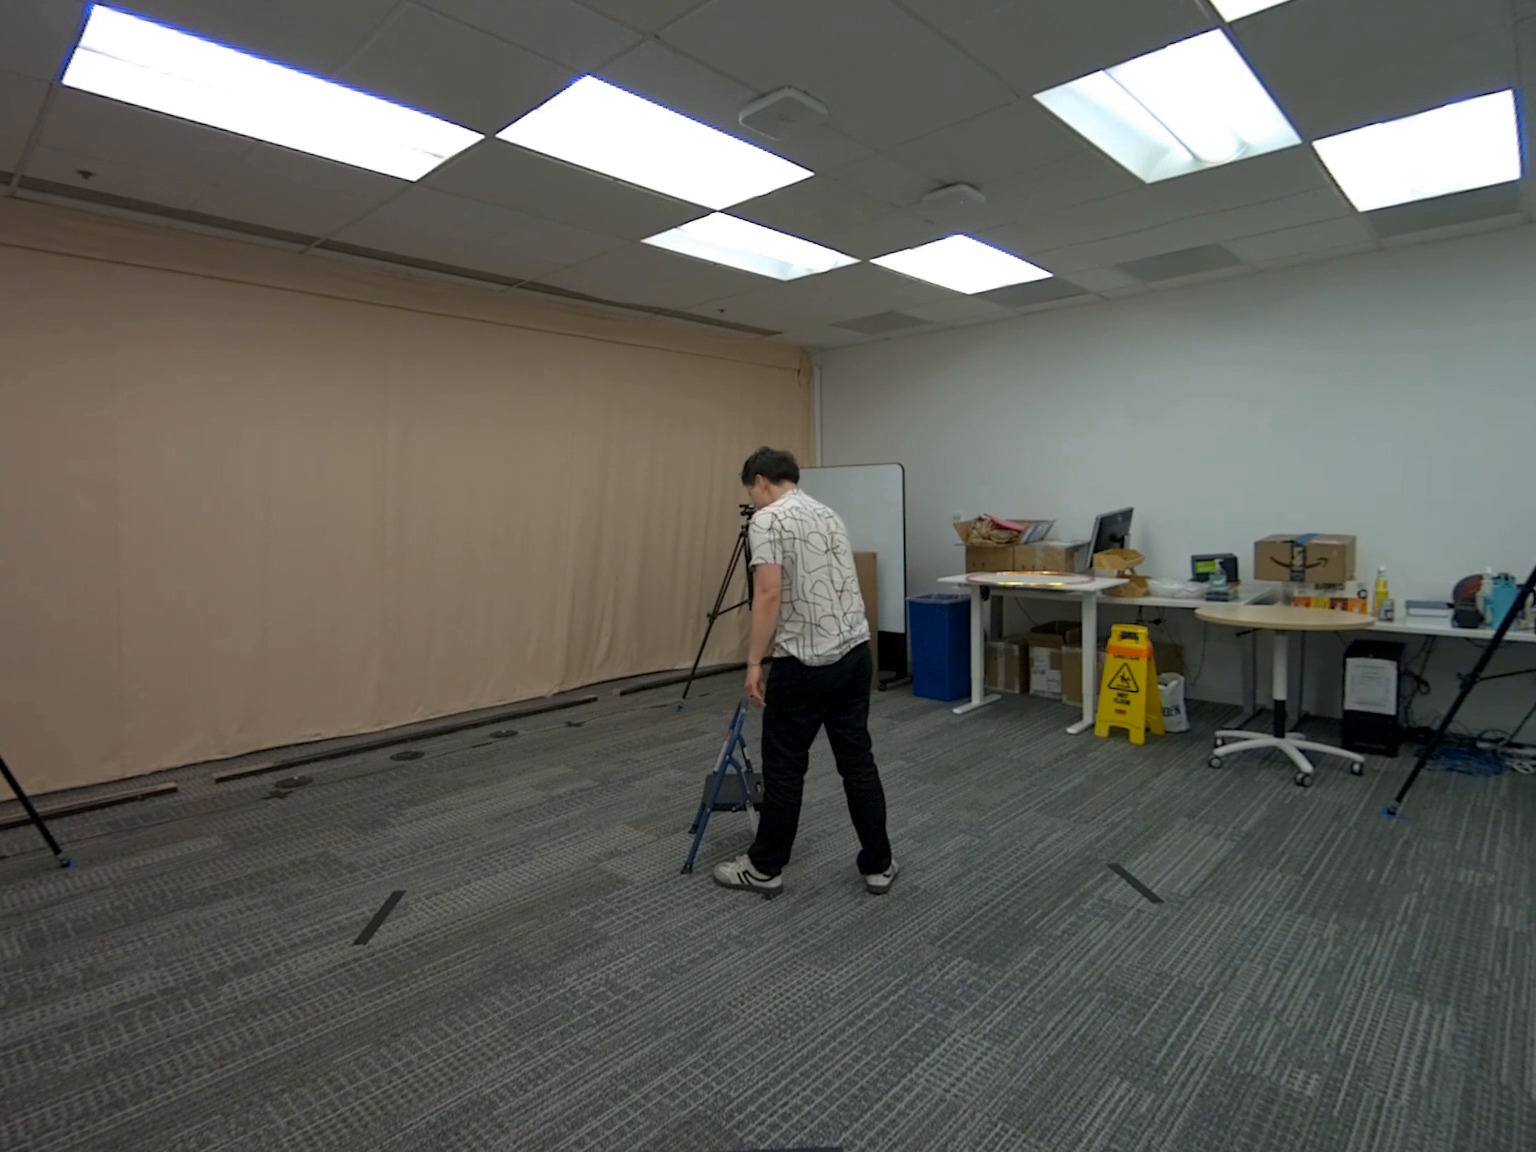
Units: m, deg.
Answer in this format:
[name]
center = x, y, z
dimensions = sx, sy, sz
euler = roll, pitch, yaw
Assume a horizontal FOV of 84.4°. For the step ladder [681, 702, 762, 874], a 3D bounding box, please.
[step ladder]
center = -0.161, 0.806, 3.380
dimensions = 0.350, 0.605, 0.431
euler = -2, 3, 0
